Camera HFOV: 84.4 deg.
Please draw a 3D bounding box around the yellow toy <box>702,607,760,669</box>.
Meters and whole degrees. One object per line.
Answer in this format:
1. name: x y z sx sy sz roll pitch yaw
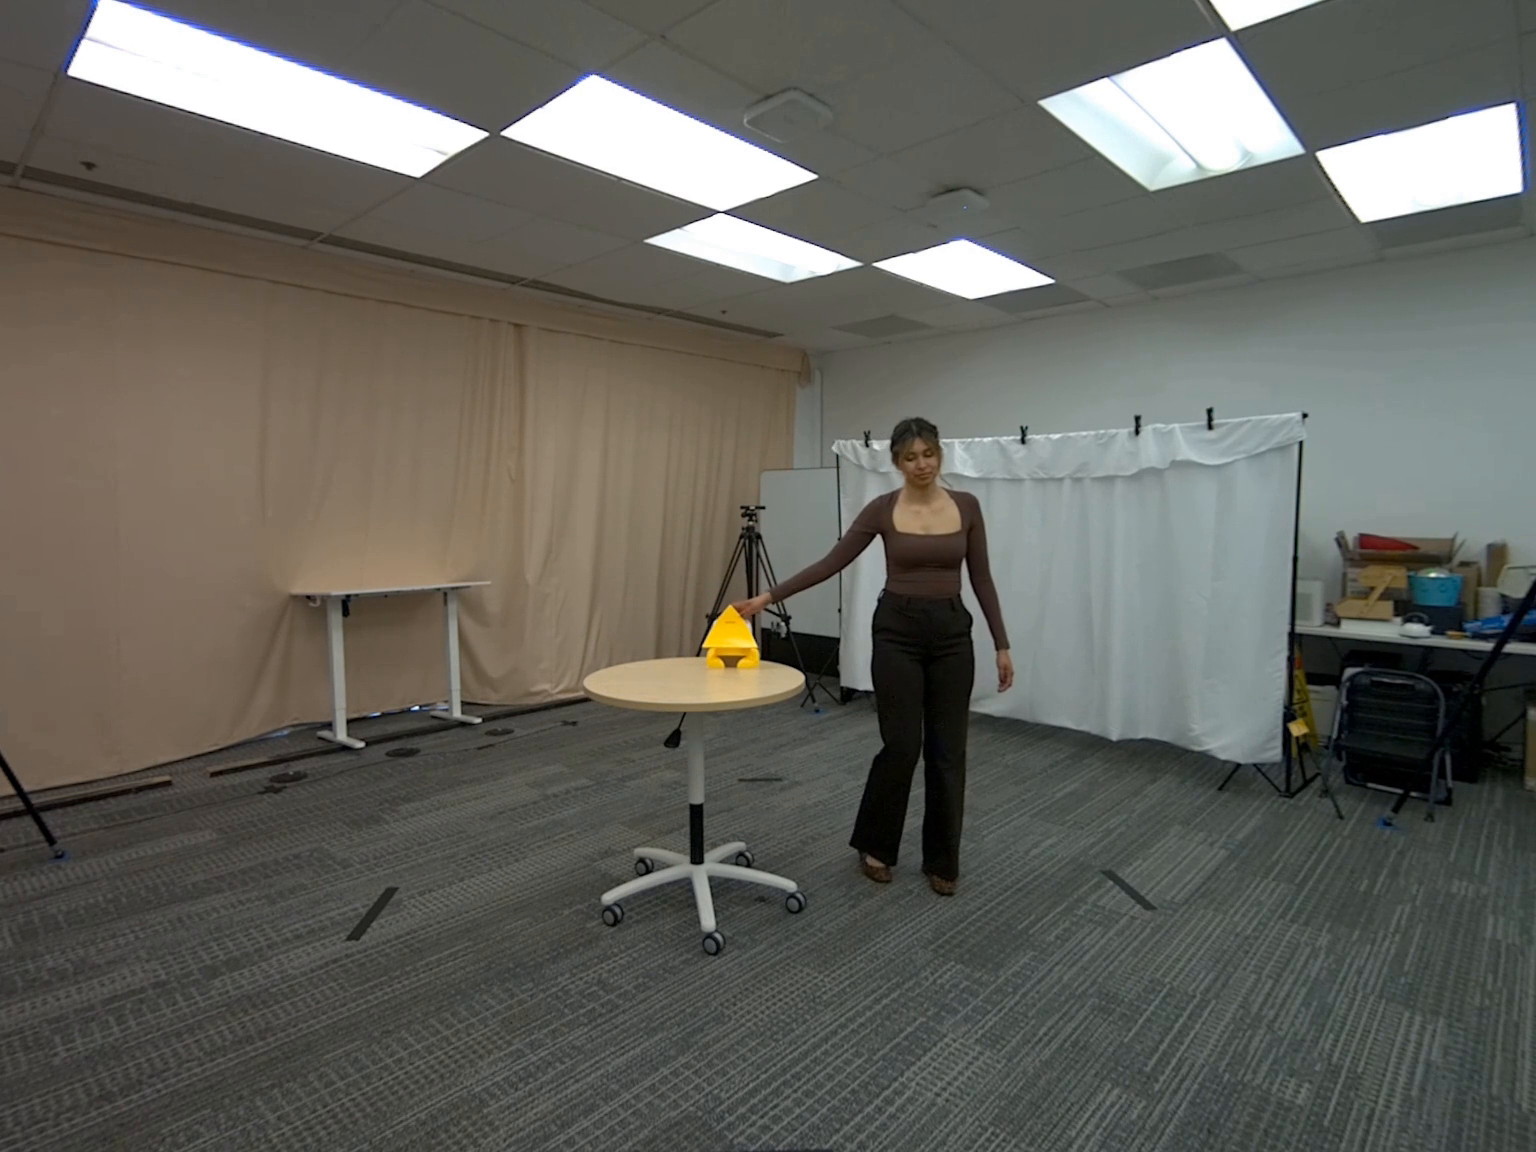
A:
1. yellow toy: -0.128 0.218 3.157 0.206 0.230 0.192 1 5 6
